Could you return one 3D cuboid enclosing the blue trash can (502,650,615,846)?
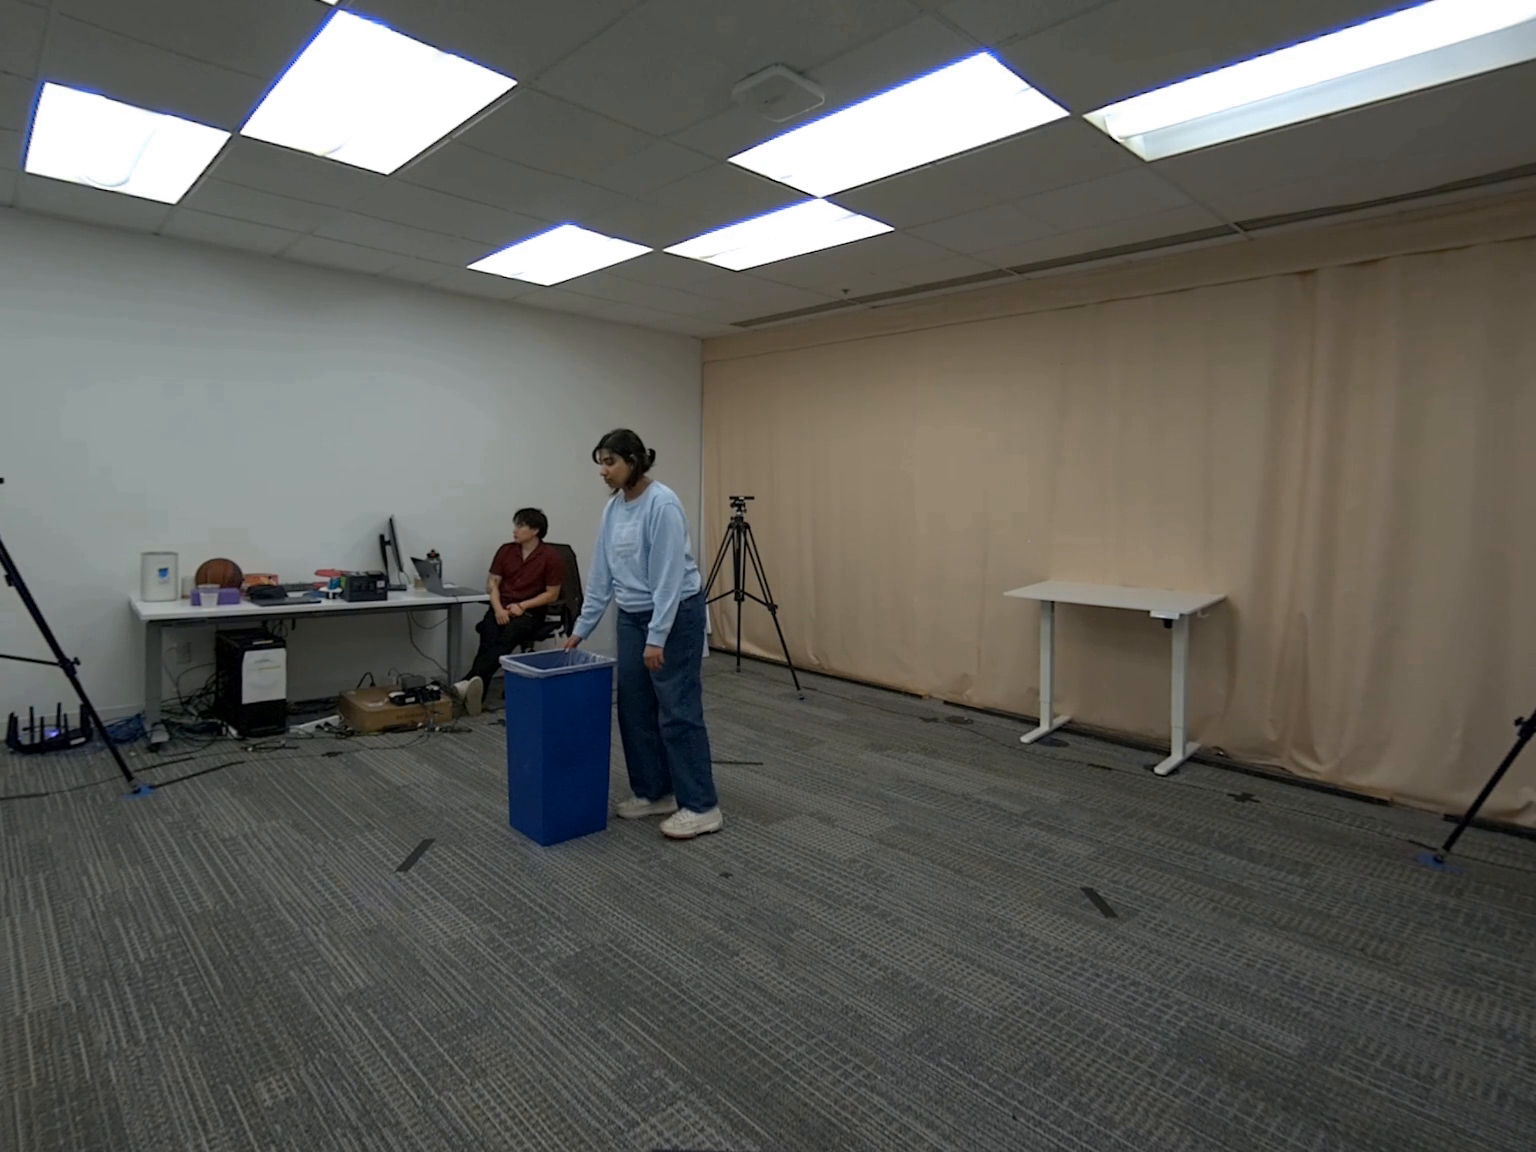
[{"bbox_3d":[-0.886,0.697,3.493,0.365,0.712,0.387,-2,4,-43],"label":"blue trash can"}]
